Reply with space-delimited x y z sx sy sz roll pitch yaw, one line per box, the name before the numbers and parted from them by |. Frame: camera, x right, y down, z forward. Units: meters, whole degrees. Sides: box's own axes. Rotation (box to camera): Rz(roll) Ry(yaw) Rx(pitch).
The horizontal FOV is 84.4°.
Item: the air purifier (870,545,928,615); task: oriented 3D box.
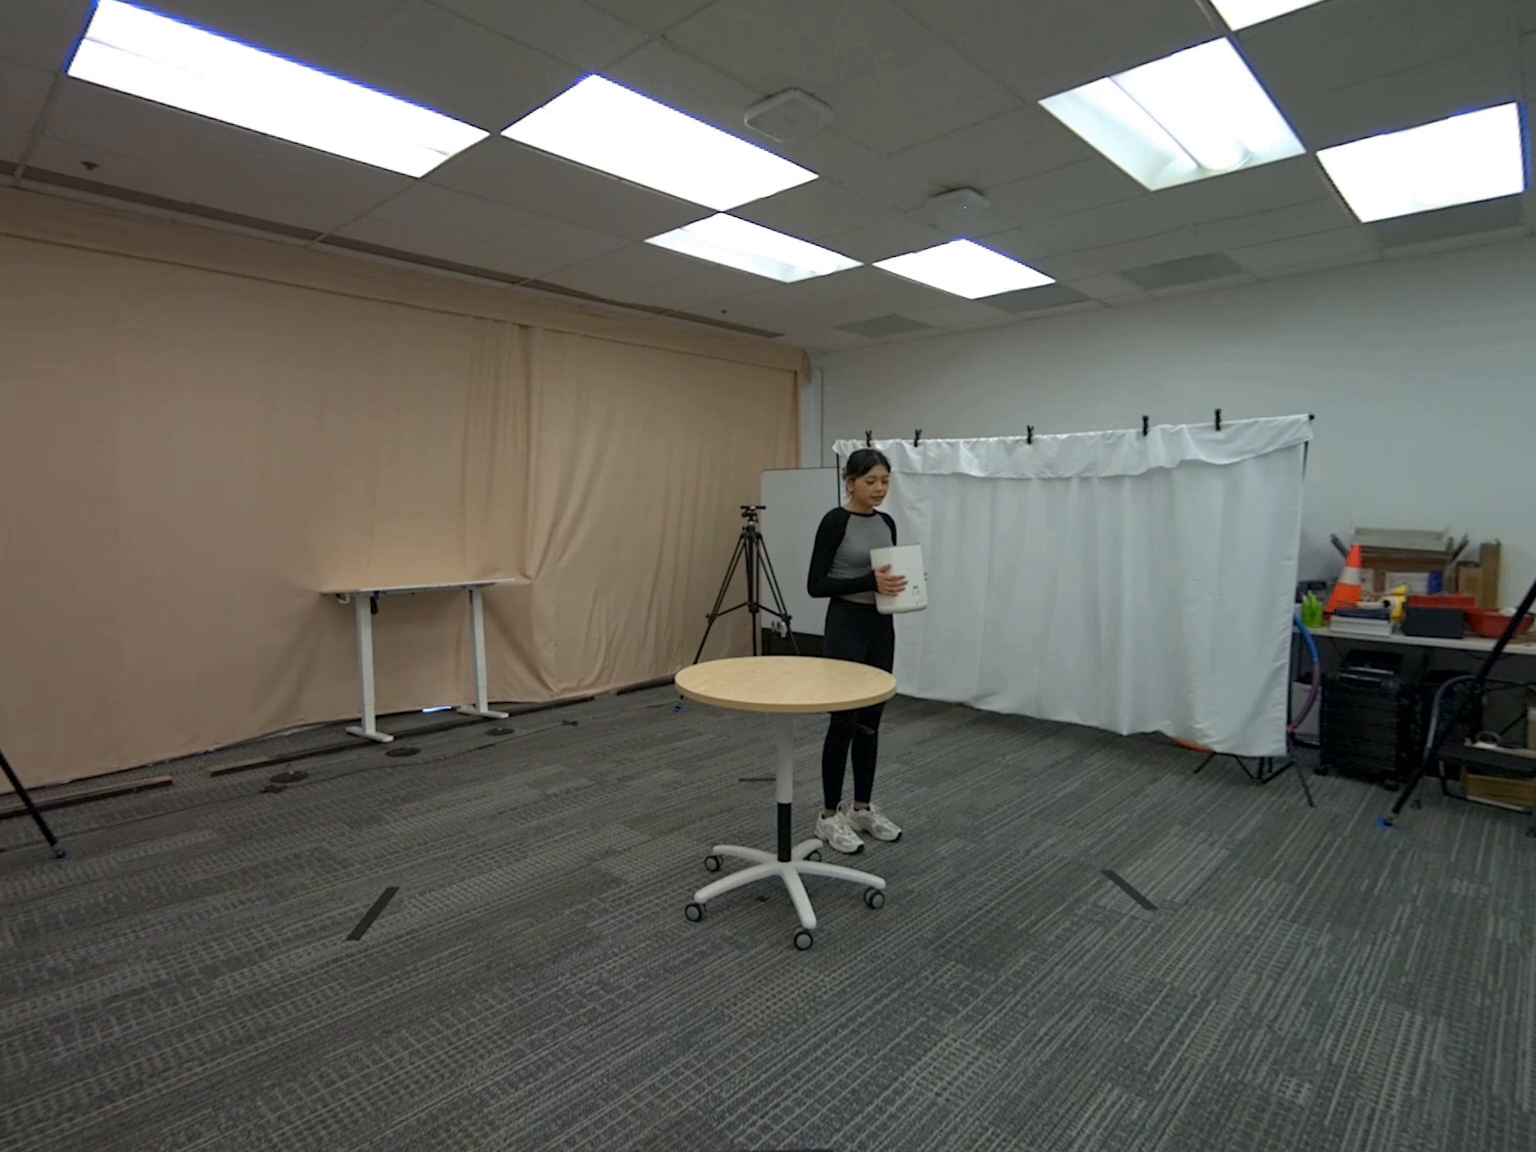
air purifier | 0.524 0.014 3.362 0.166 0.266 0.176 -4 -4 -34
